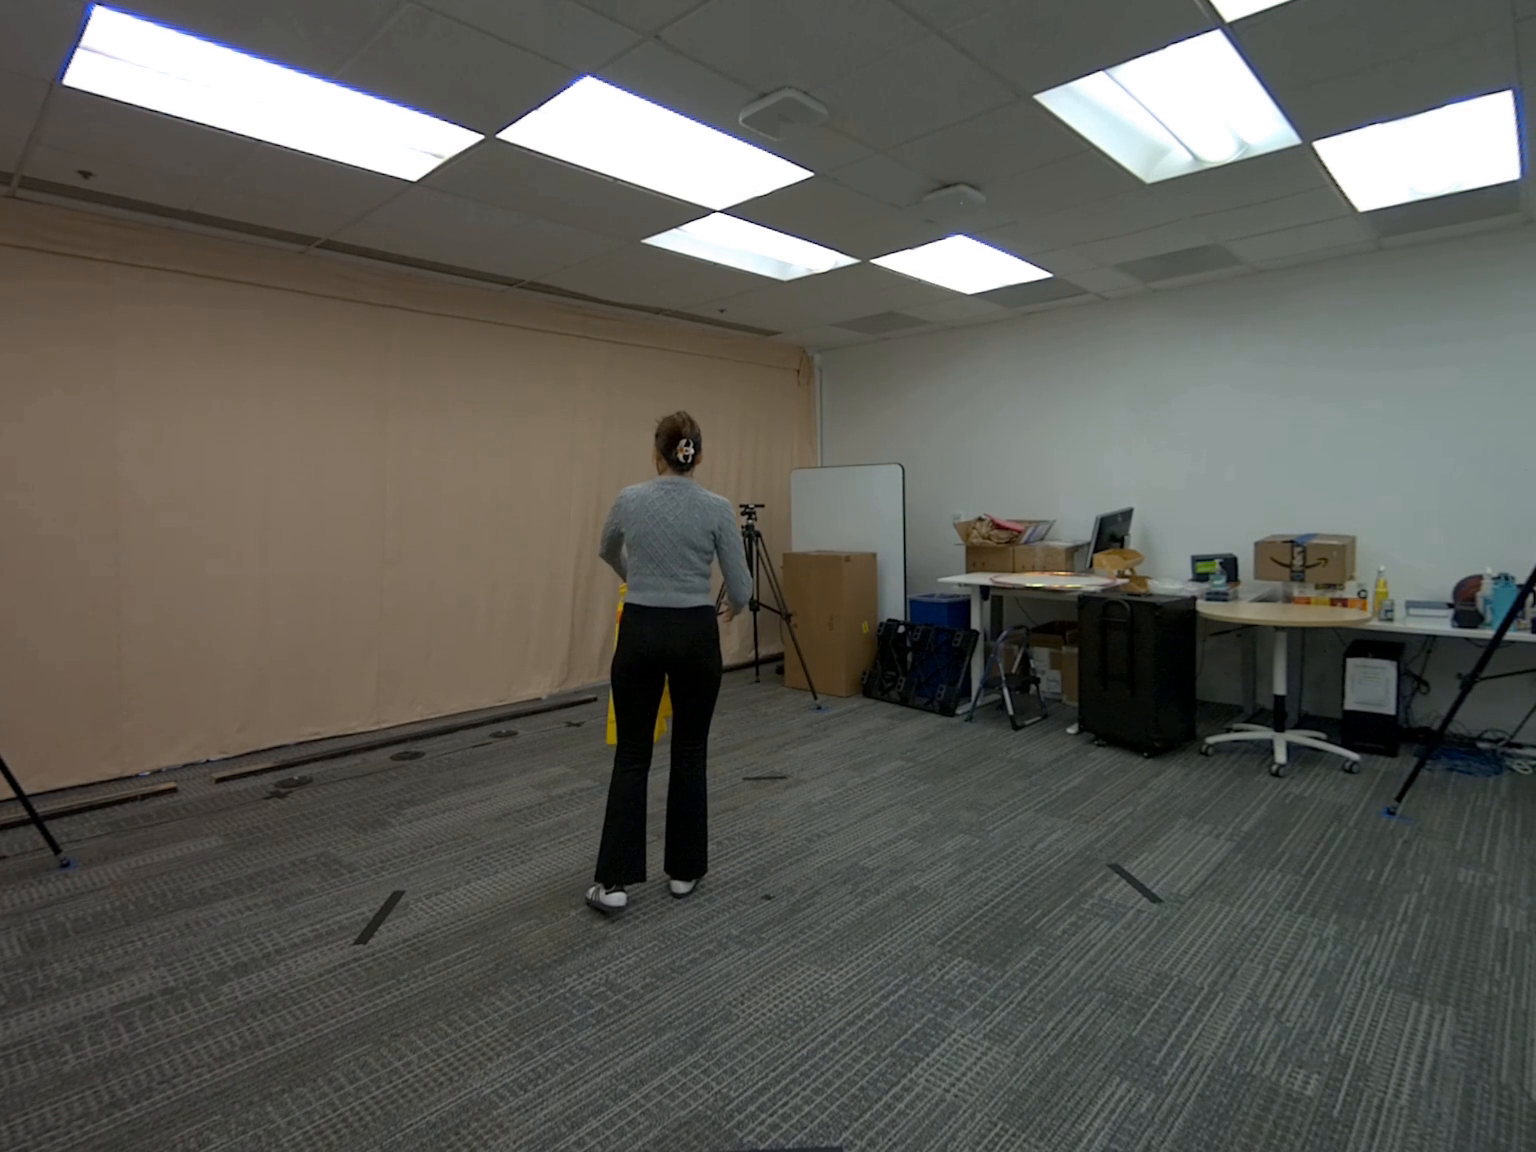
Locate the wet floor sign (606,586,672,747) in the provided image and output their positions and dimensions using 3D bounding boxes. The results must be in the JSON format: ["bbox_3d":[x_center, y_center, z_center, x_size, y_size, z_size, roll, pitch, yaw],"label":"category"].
[{"bbox_3d":[-0.501,0.340,3.487,0.290,0.649,0.281,-11,-8,35],"label":"wet floor sign"}]
